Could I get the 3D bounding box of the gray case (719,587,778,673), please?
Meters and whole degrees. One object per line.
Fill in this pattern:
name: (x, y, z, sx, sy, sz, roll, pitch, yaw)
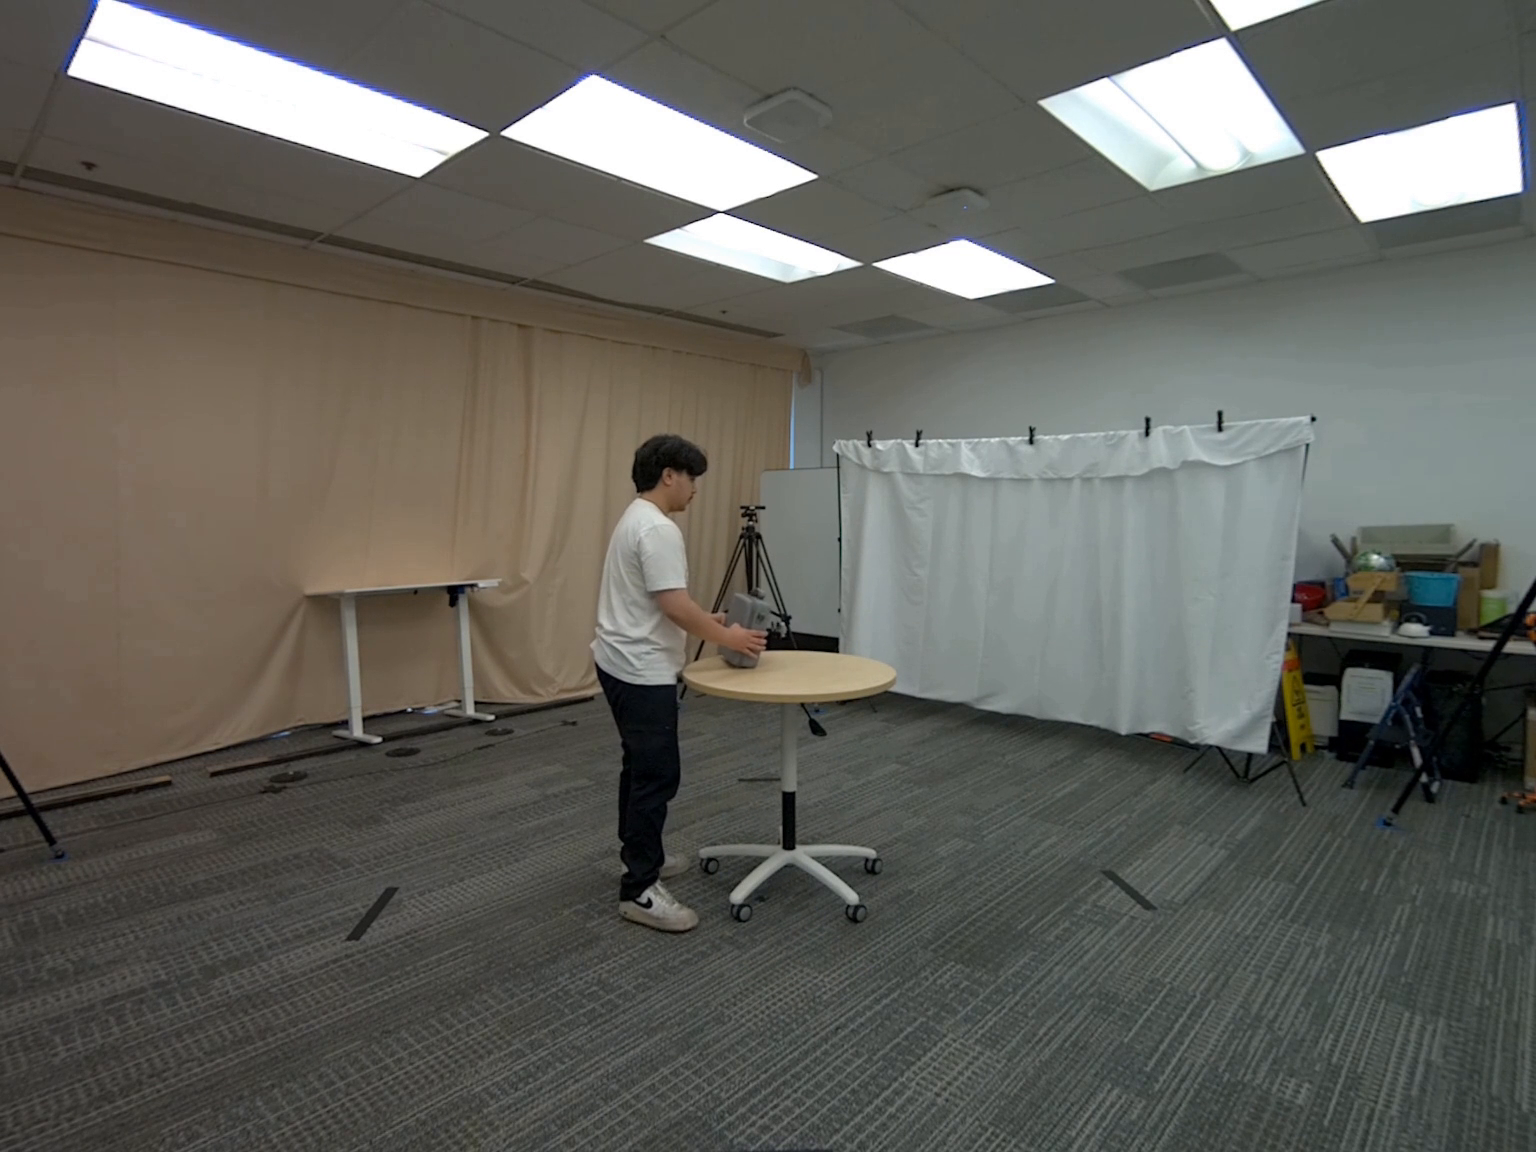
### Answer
gray case: (-0.078, 0.195, 3.166, 0.102, 0.260, 0.261, 12, 2, -16)
